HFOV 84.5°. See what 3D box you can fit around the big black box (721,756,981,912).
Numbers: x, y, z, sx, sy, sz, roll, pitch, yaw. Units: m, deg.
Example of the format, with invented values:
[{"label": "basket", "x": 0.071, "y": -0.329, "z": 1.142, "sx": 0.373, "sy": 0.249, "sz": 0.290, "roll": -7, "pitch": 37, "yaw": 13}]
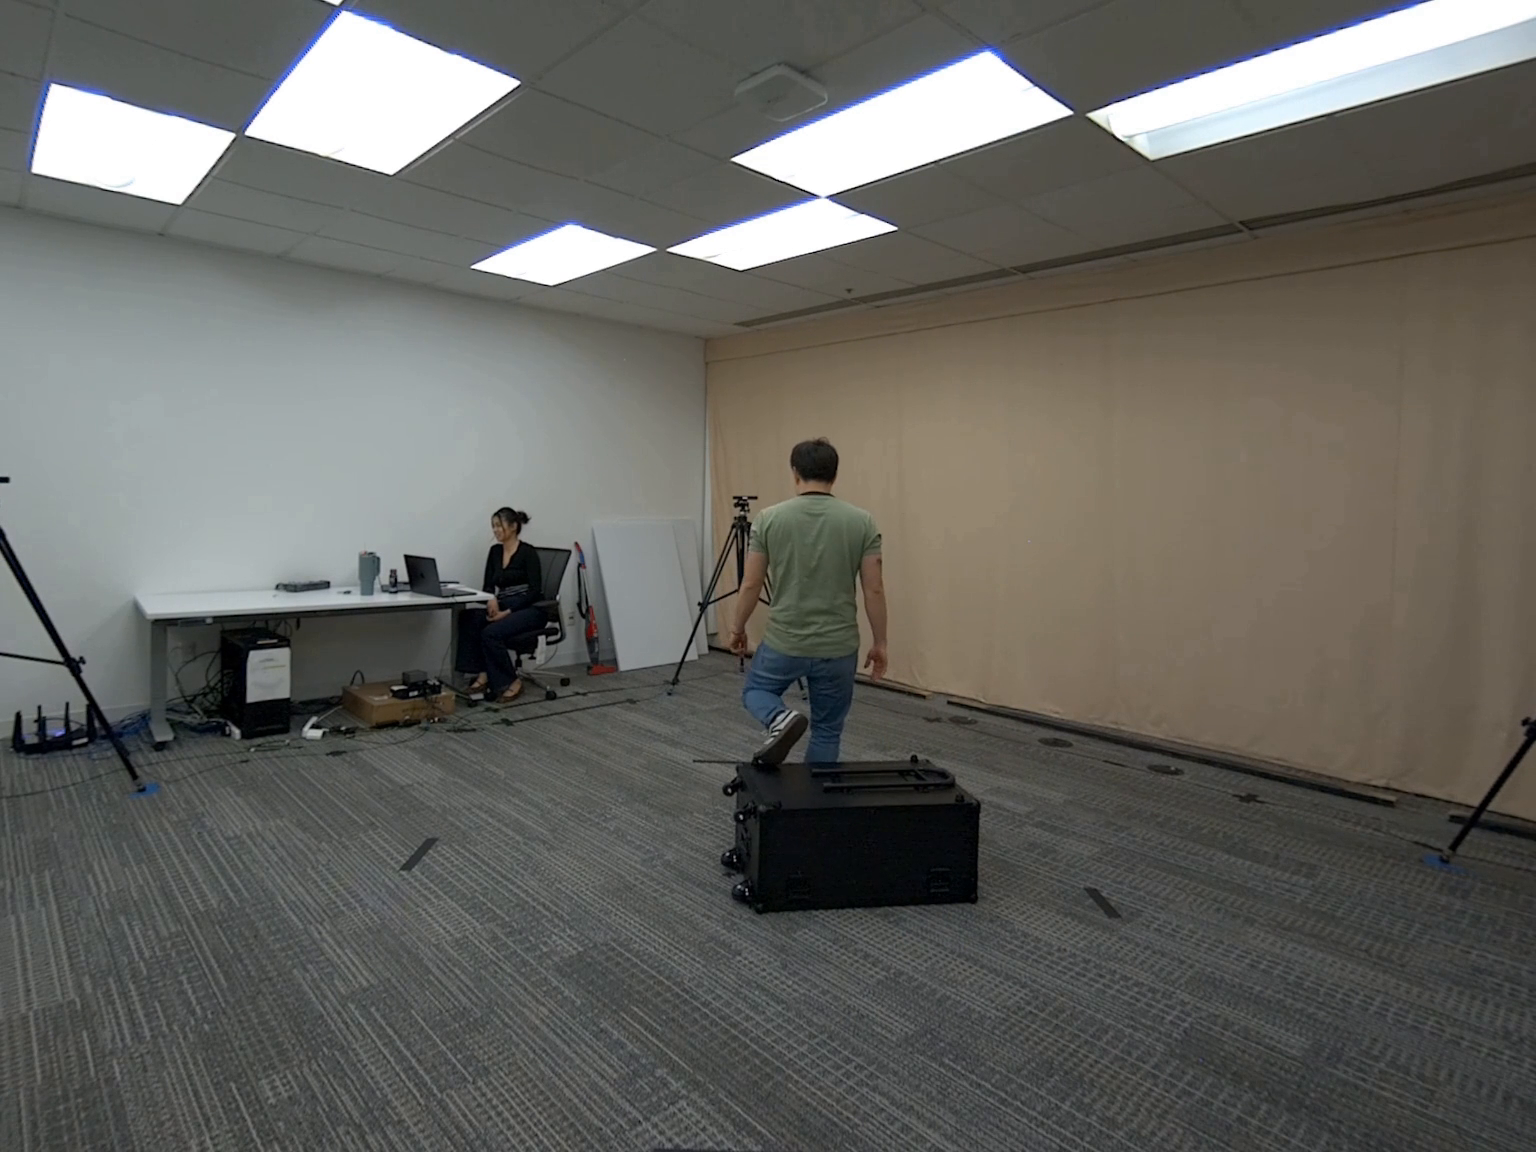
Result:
[{"label": "big black box", "x": 0.267, "y": 0.923, "z": 3.086, "sx": 0.855, "sy": 0.395, "sz": 0.527, "roll": -1, "pitch": 4, "yaw": -10}]
